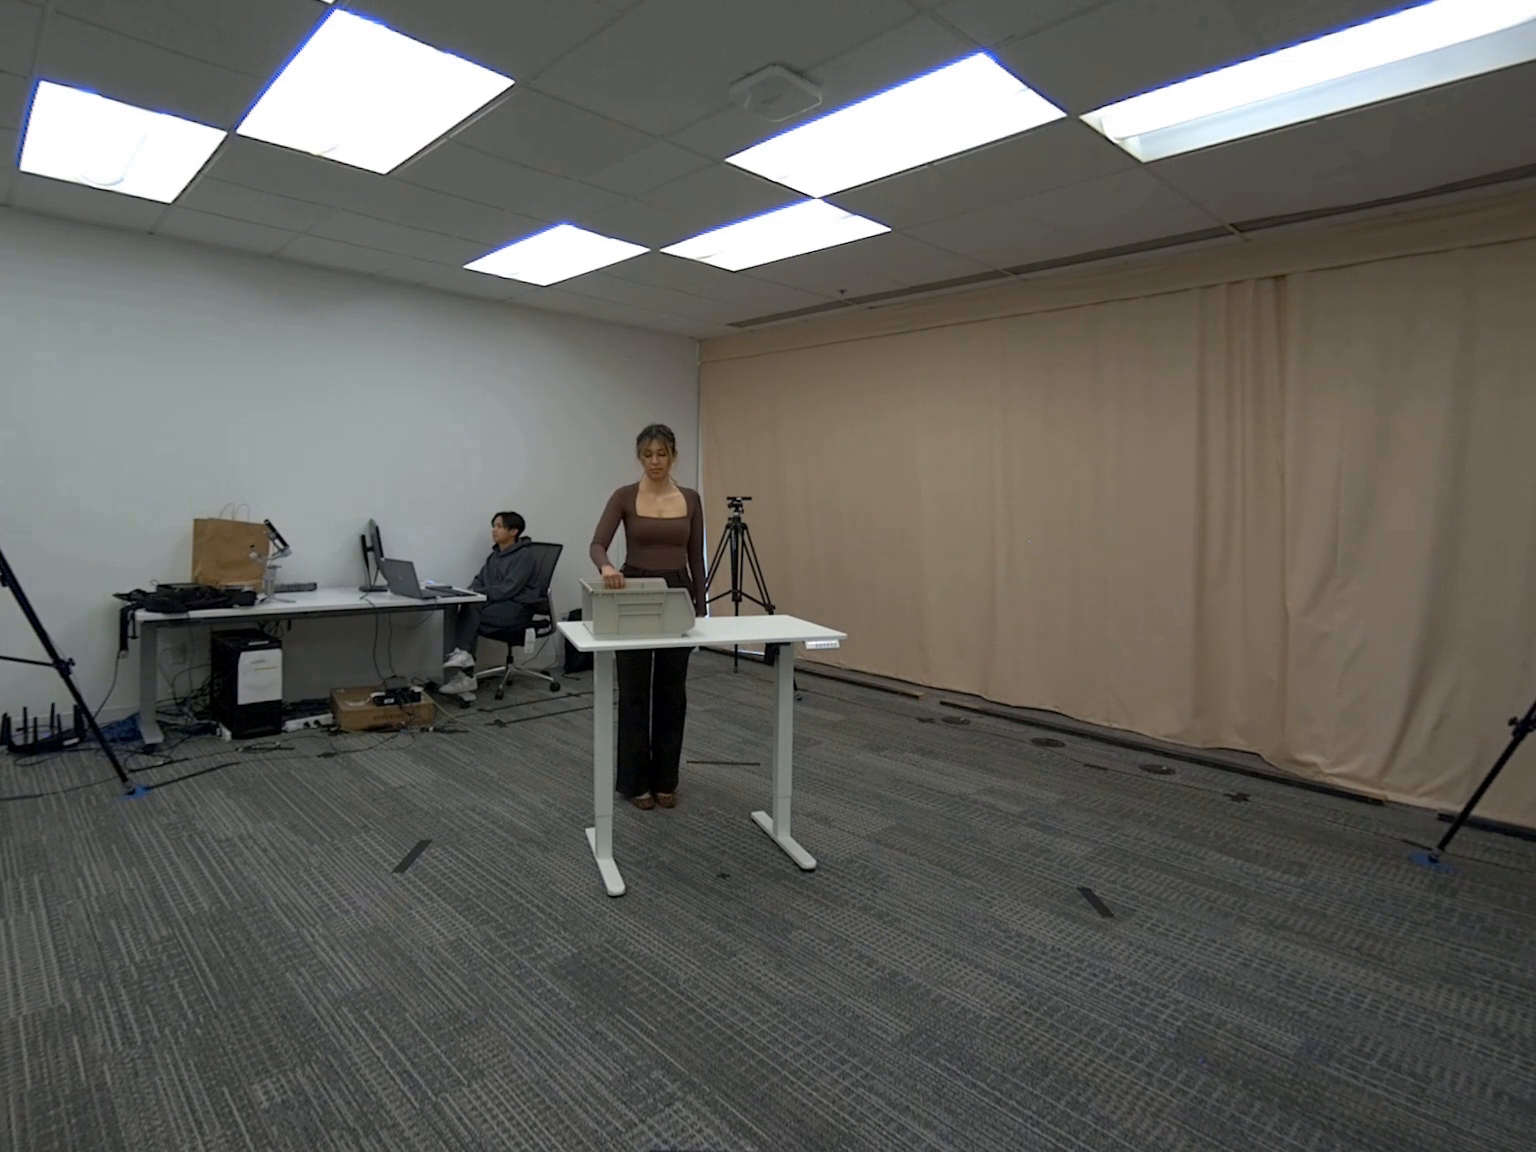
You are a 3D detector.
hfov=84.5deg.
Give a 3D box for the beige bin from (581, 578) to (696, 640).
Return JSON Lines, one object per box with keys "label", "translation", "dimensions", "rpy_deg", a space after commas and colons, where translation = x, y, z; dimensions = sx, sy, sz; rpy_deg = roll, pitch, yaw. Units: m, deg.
{"label": "beige bin", "translation": [-0.516, 0.119, 3.192], "dimensions": [0.372, 0.188, 0.429], "rpy_deg": [-2, 6, -17]}
